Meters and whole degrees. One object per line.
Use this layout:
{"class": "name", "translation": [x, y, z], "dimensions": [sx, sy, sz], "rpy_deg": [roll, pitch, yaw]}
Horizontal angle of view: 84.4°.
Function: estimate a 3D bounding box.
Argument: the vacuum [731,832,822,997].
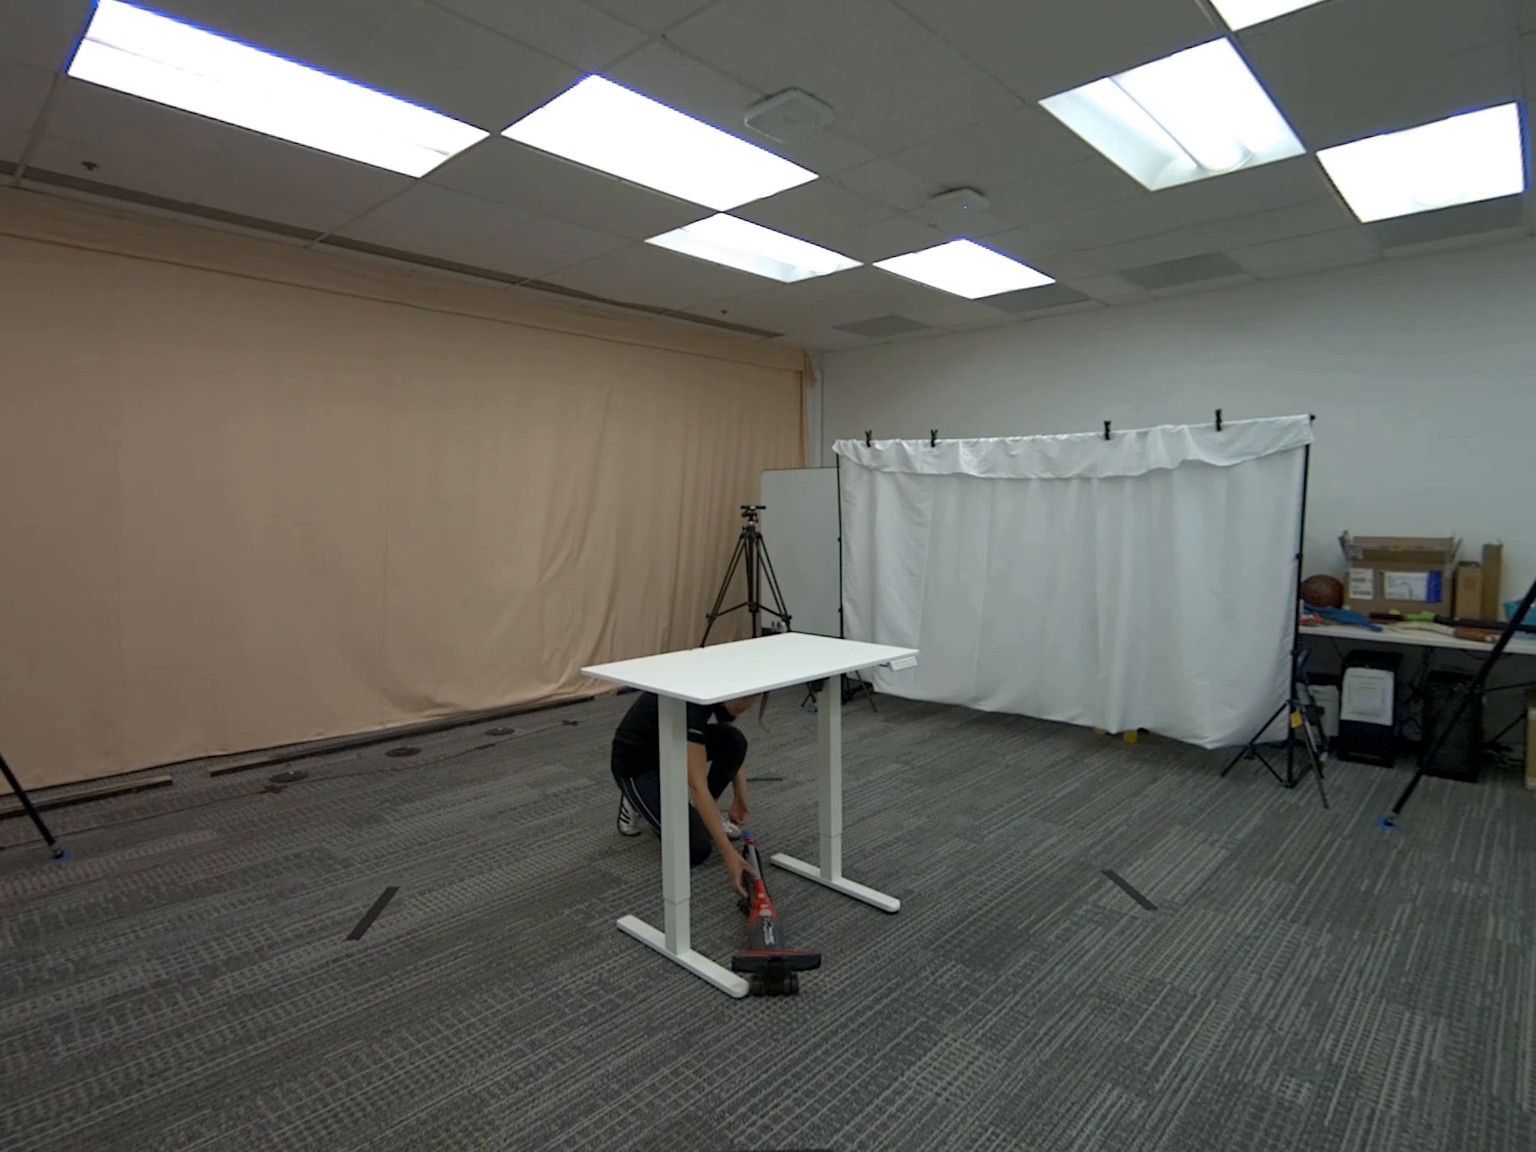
{"class": "vacuum", "translation": [-0.034, 1.086, 2.879], "dimensions": [0.251, 0.144, 1.056], "rpy_deg": [0, 3, -6]}
